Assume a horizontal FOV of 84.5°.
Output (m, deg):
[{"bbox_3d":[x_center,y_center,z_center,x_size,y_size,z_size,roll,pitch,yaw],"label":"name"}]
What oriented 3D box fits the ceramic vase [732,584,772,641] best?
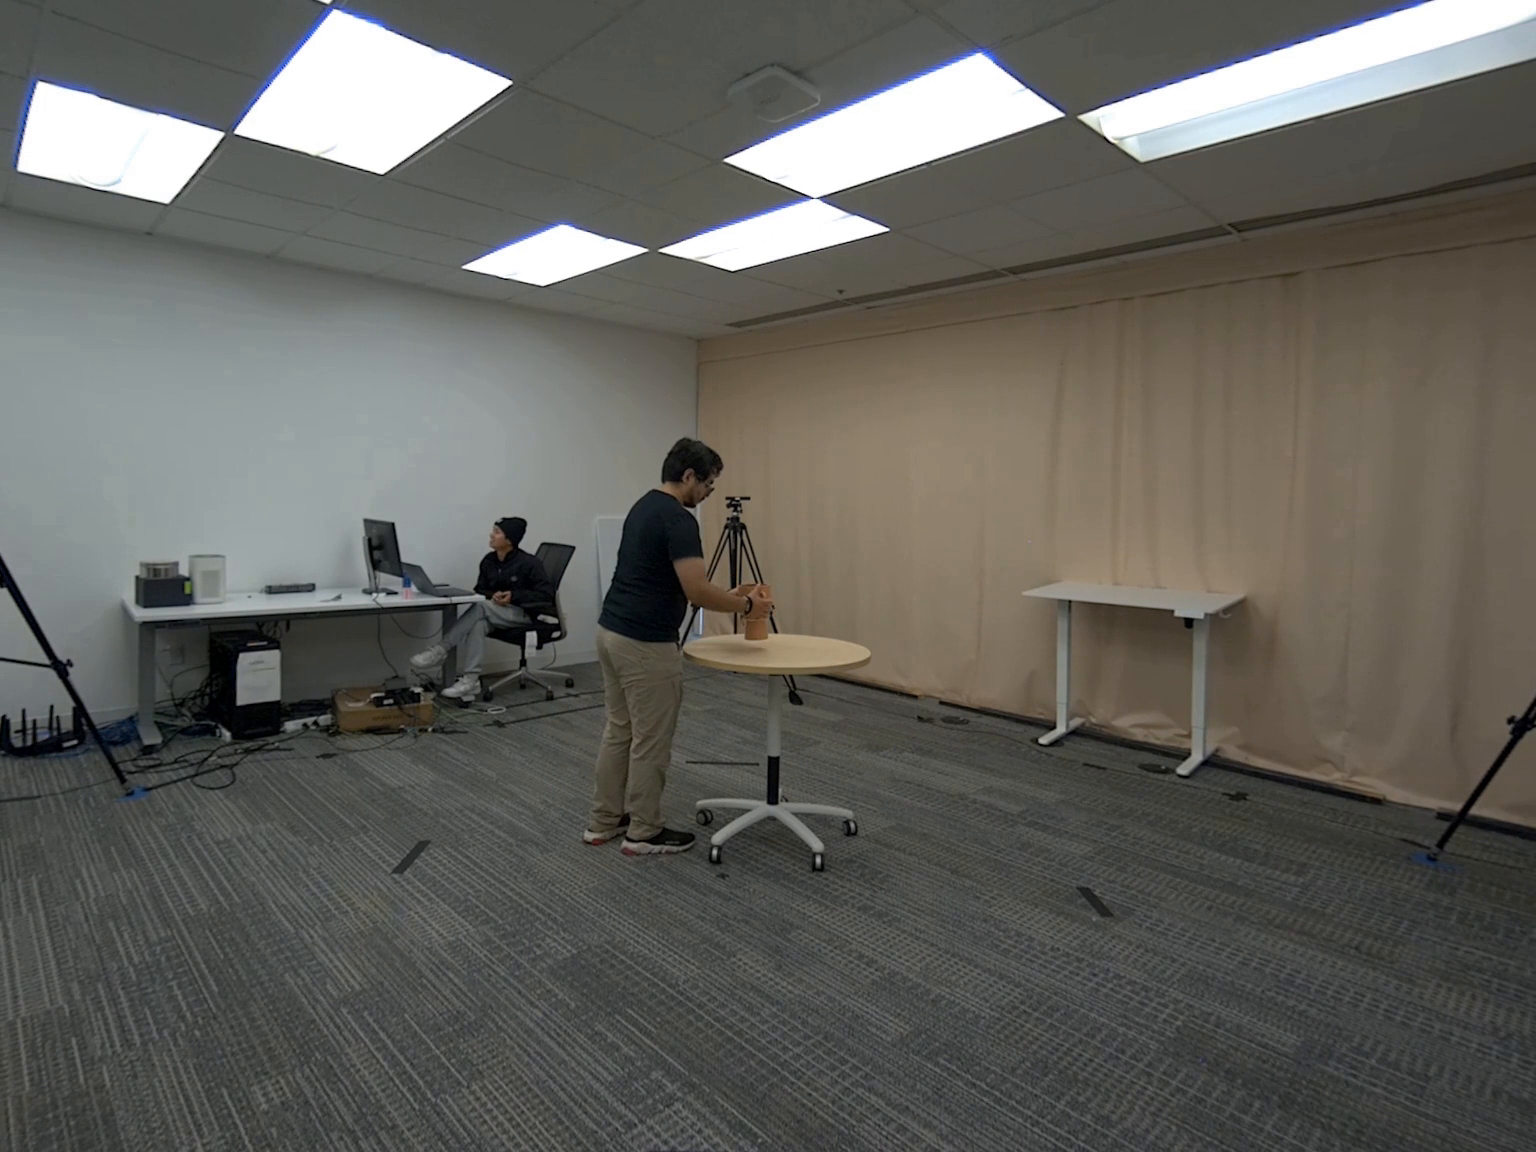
[{"bbox_3d":[-0.063,0.145,3.417,0.136,0.219,0.158,-1,3,10],"label":"ceramic vase"}]
